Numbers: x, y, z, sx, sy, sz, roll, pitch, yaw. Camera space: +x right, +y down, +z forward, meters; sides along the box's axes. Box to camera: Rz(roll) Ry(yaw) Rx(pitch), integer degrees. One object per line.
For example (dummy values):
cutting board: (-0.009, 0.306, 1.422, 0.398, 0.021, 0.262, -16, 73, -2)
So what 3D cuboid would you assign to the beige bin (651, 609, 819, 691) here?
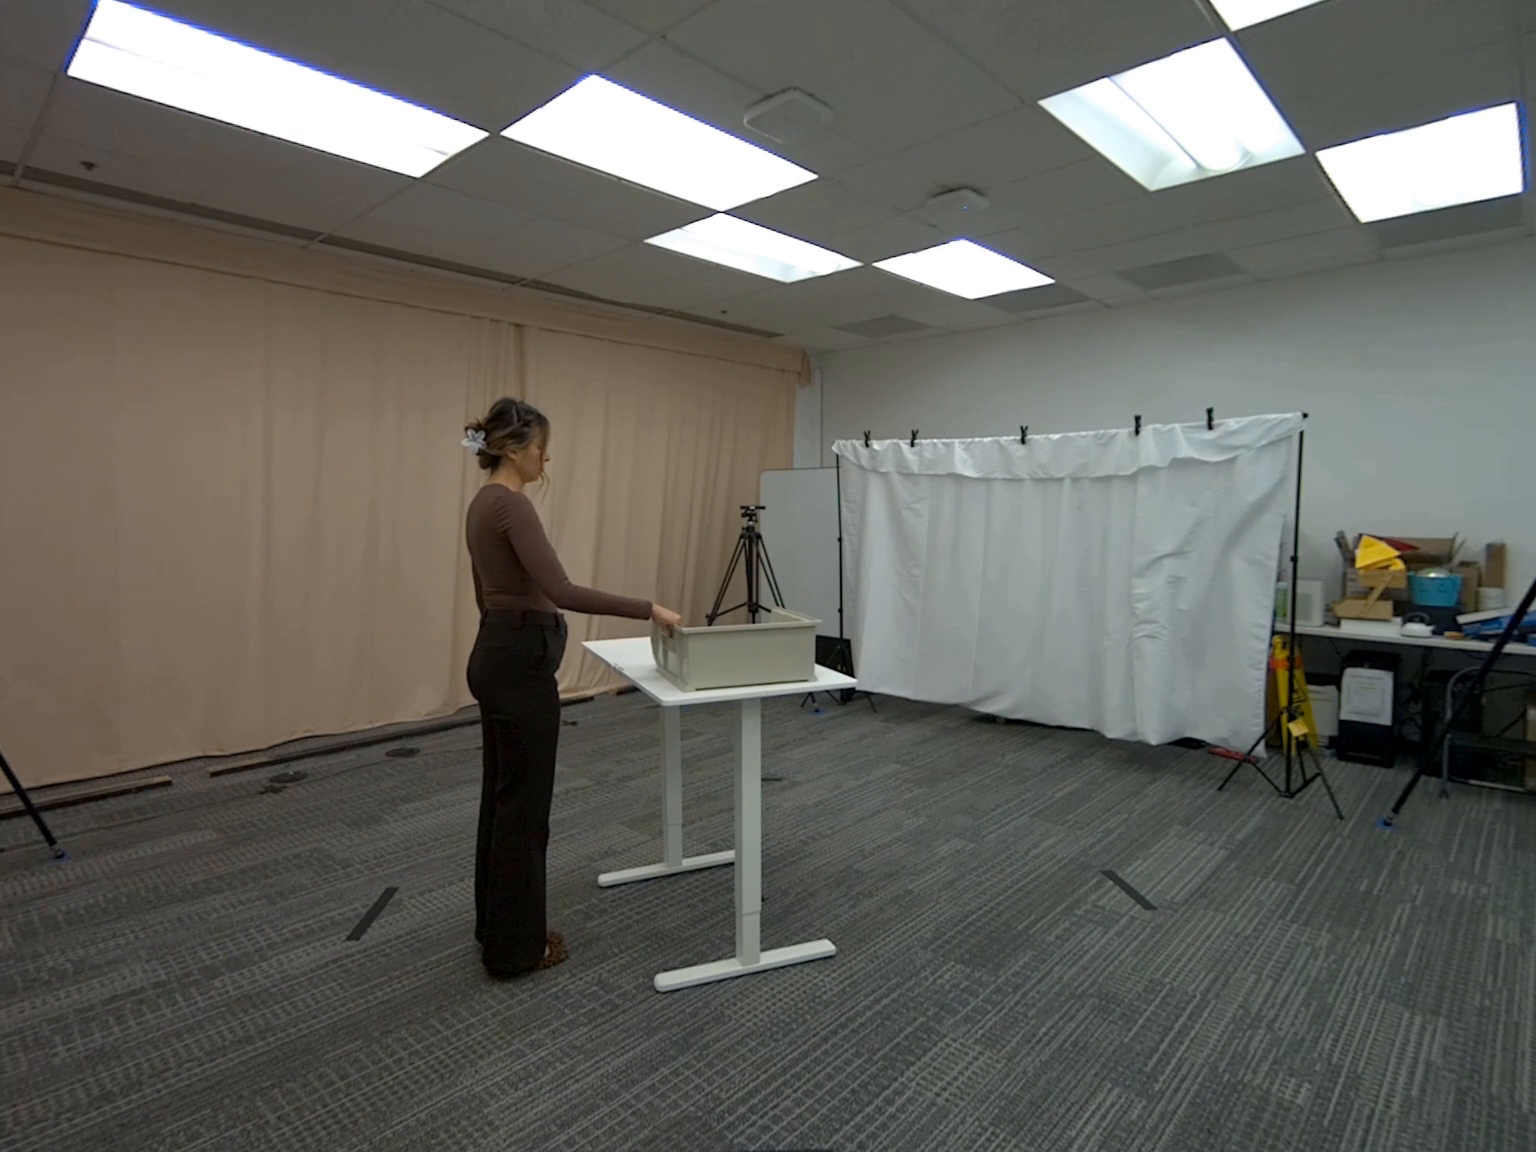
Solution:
beige bin: (-0.107, 0.214, 2.544, 0.414, 0.188, 0.386, -2, 6, -20)
